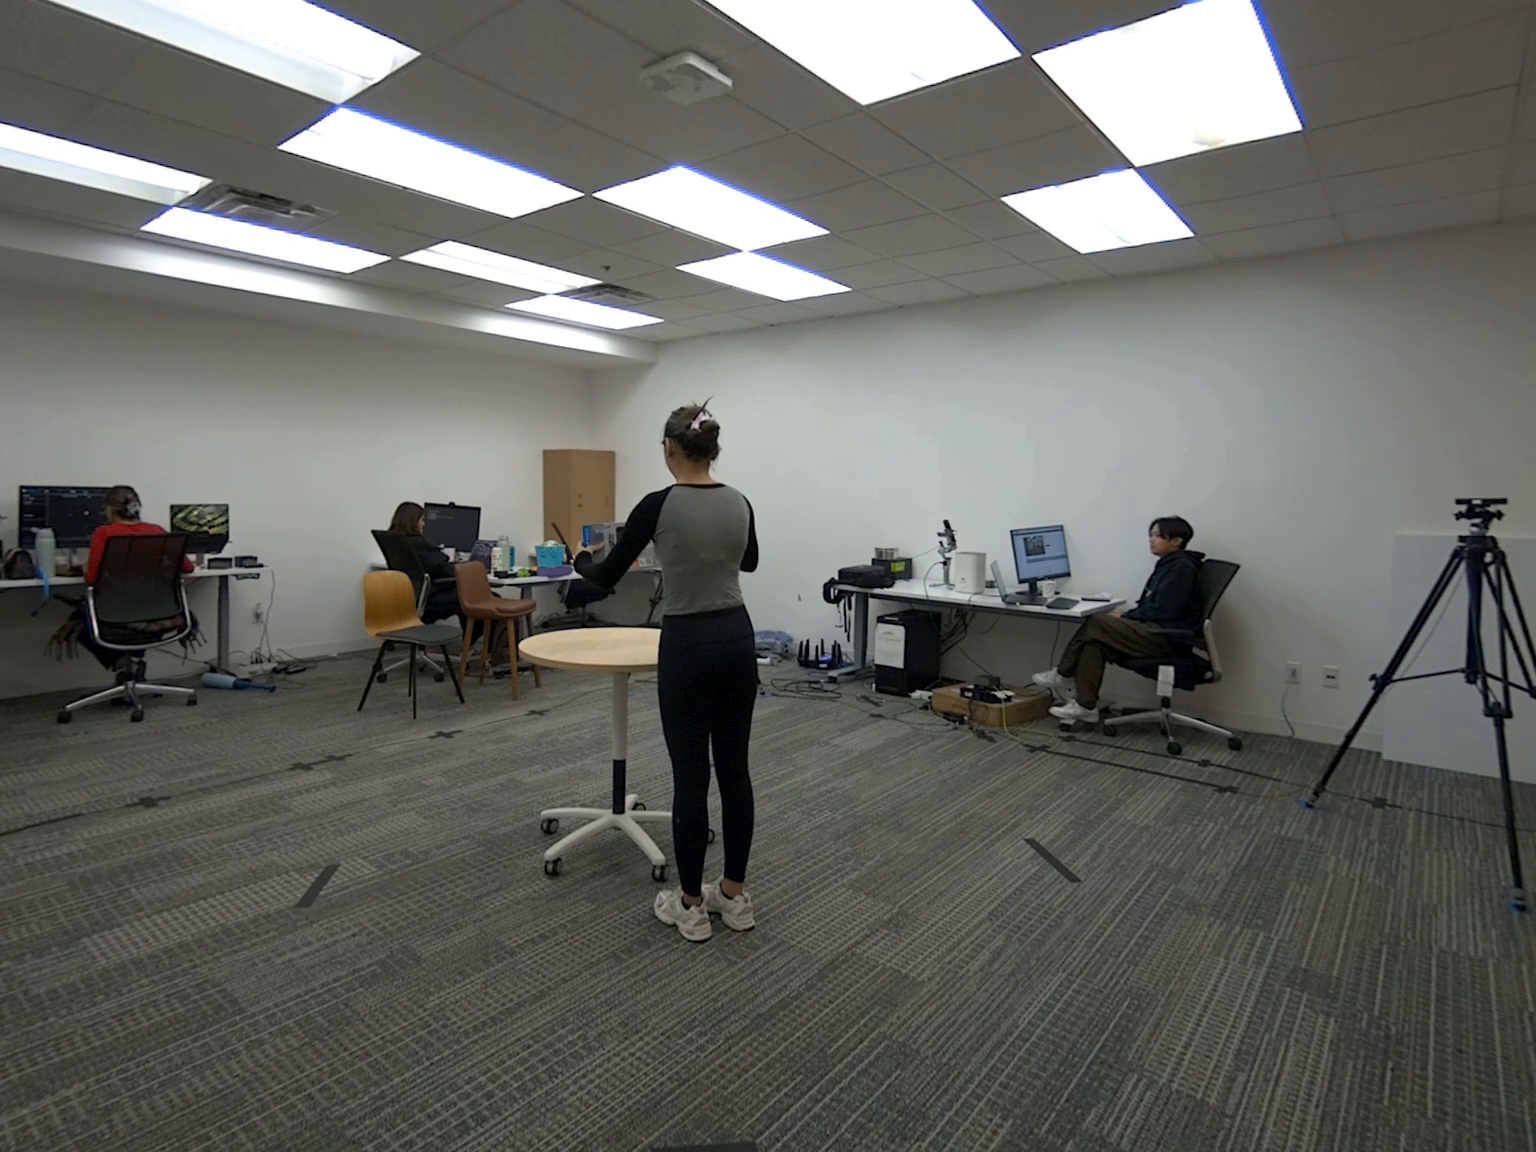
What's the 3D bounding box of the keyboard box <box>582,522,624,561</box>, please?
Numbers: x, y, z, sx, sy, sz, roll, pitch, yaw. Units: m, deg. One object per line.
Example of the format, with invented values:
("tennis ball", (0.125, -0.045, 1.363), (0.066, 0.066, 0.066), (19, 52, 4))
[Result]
("keyboard box", (-0.459, -0.113, 3.087), (0.425, 0.176, 0.061), (-6, 1, -34))
